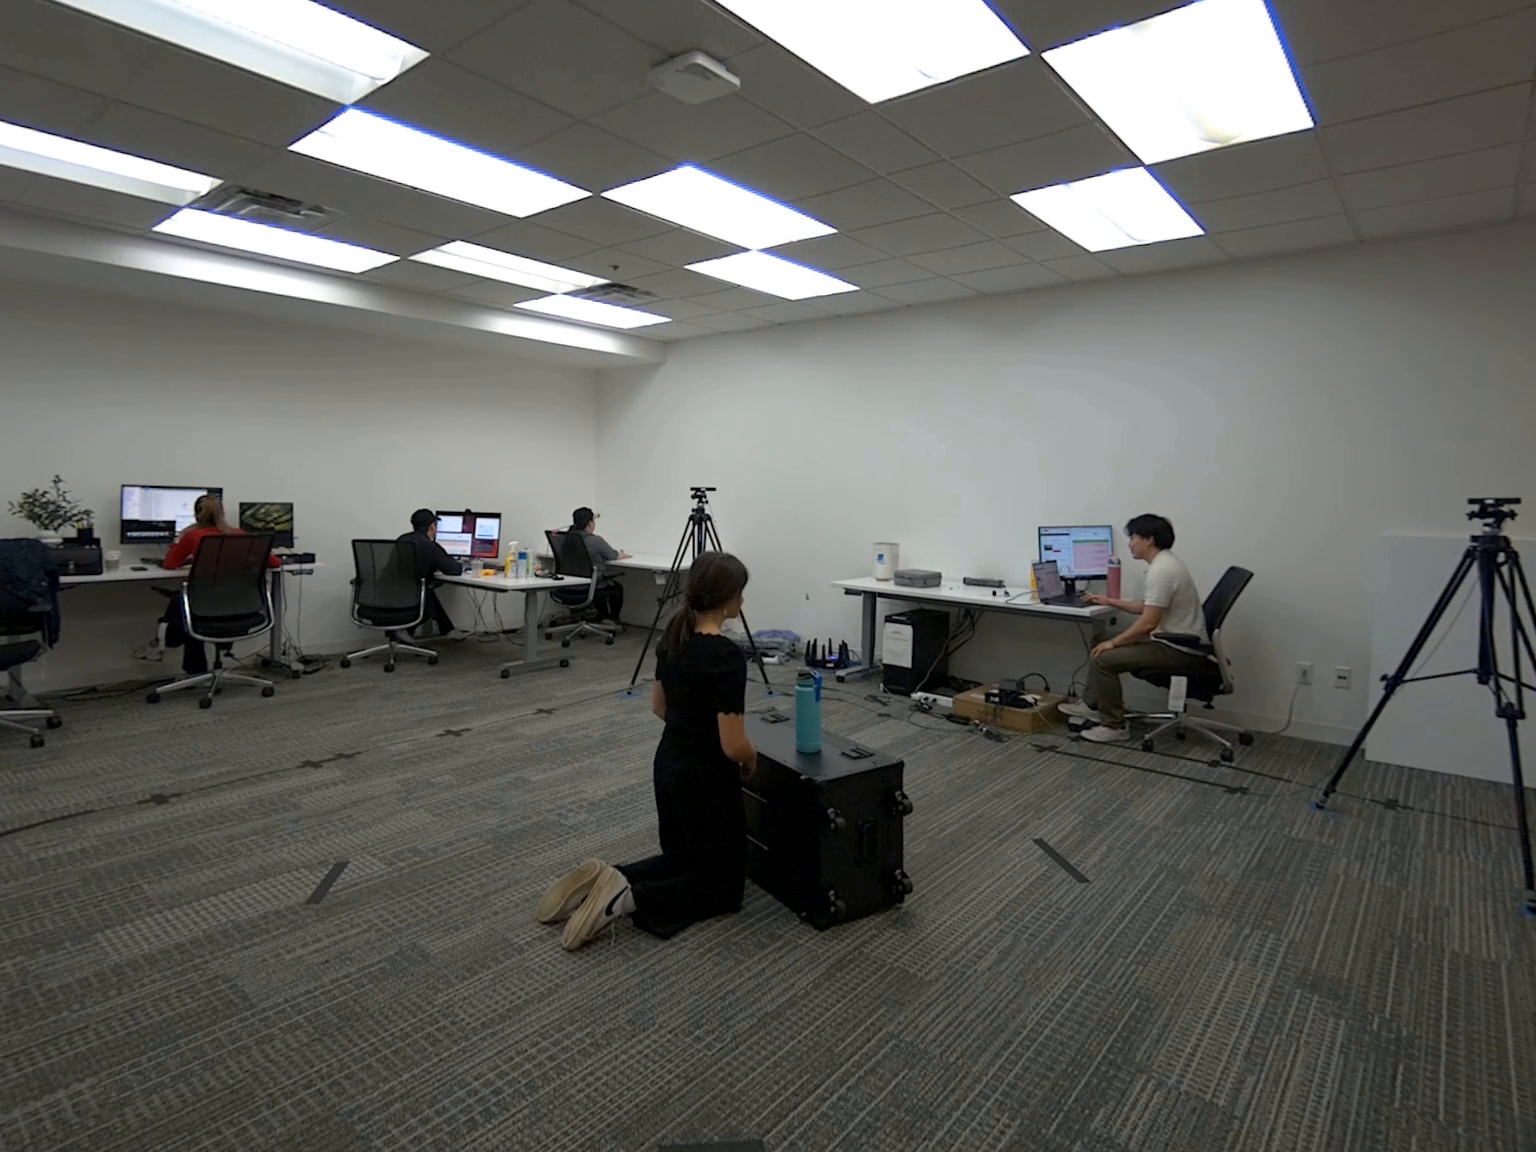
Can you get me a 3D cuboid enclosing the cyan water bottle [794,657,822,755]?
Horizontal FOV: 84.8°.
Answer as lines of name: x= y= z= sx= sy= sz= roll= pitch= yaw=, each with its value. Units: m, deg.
cyan water bottle: x=0.131 y=0.464 z=2.954 sx=0.092 sy=0.282 sz=0.093 roll=1 pitch=3 yaw=-2
